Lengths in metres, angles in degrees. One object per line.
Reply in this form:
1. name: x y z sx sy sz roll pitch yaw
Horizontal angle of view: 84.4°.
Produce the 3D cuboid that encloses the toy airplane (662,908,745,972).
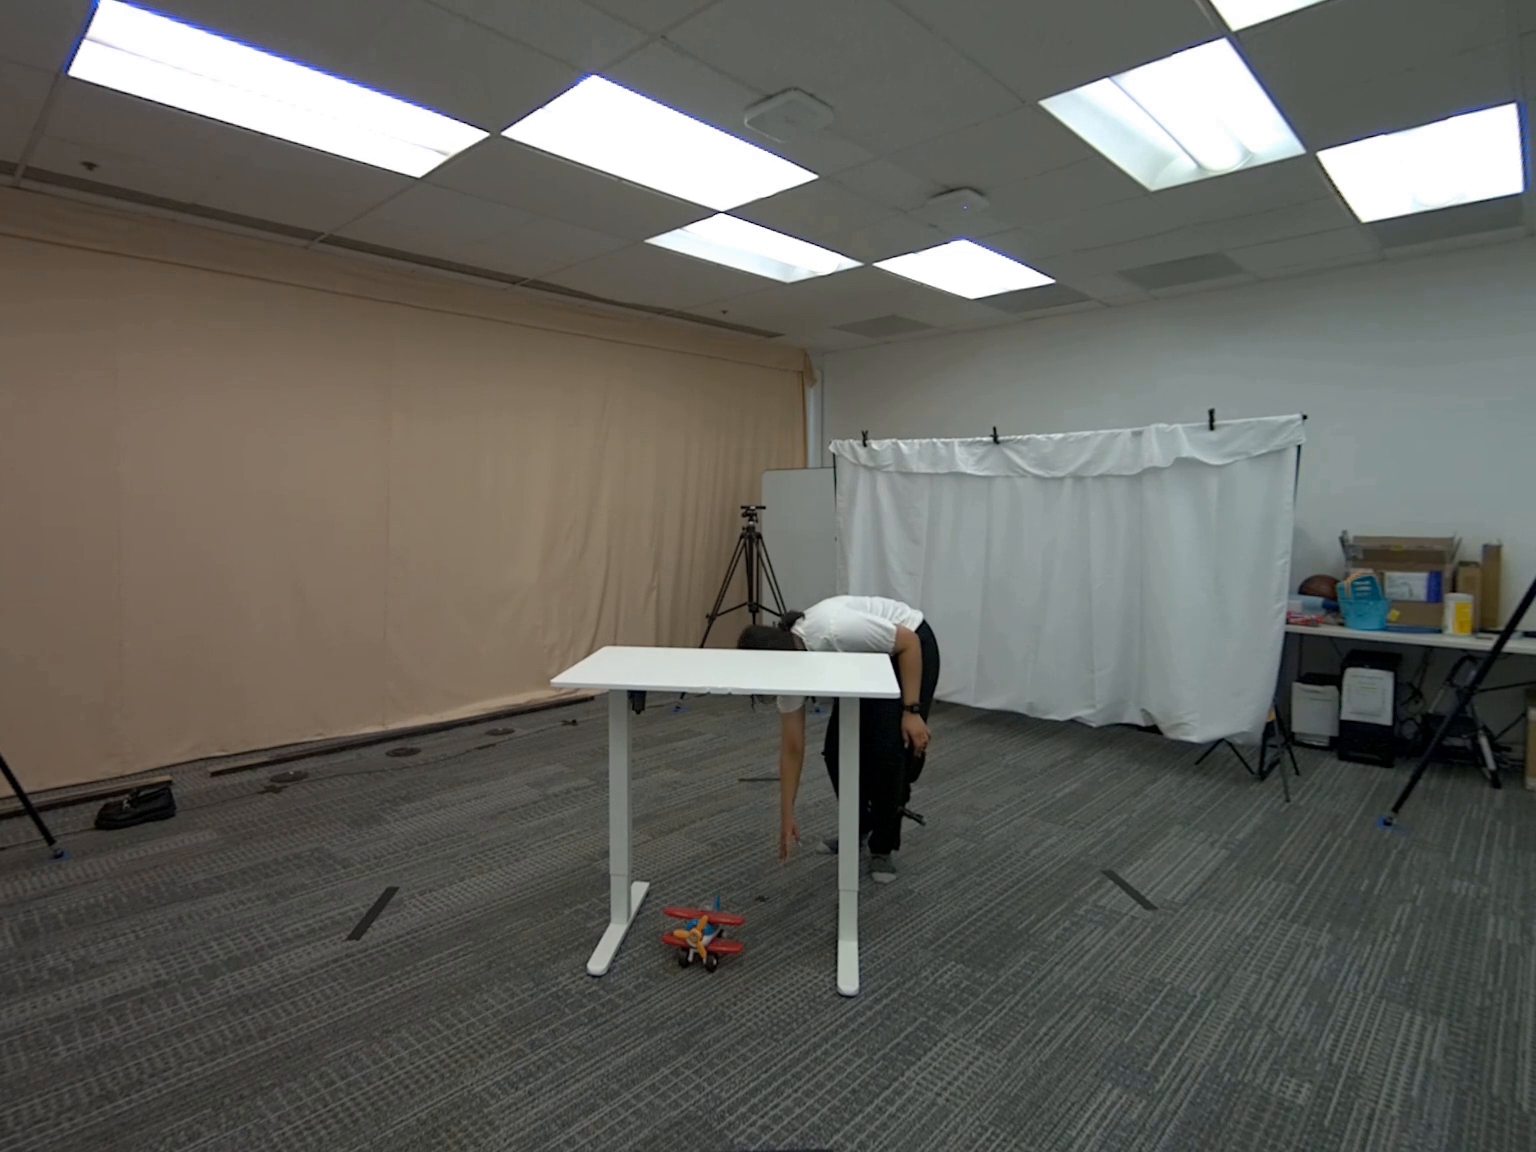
1. toy airplane: -0.204 1.103 2.612 0.248 0.156 0.263 -1 5 -12
